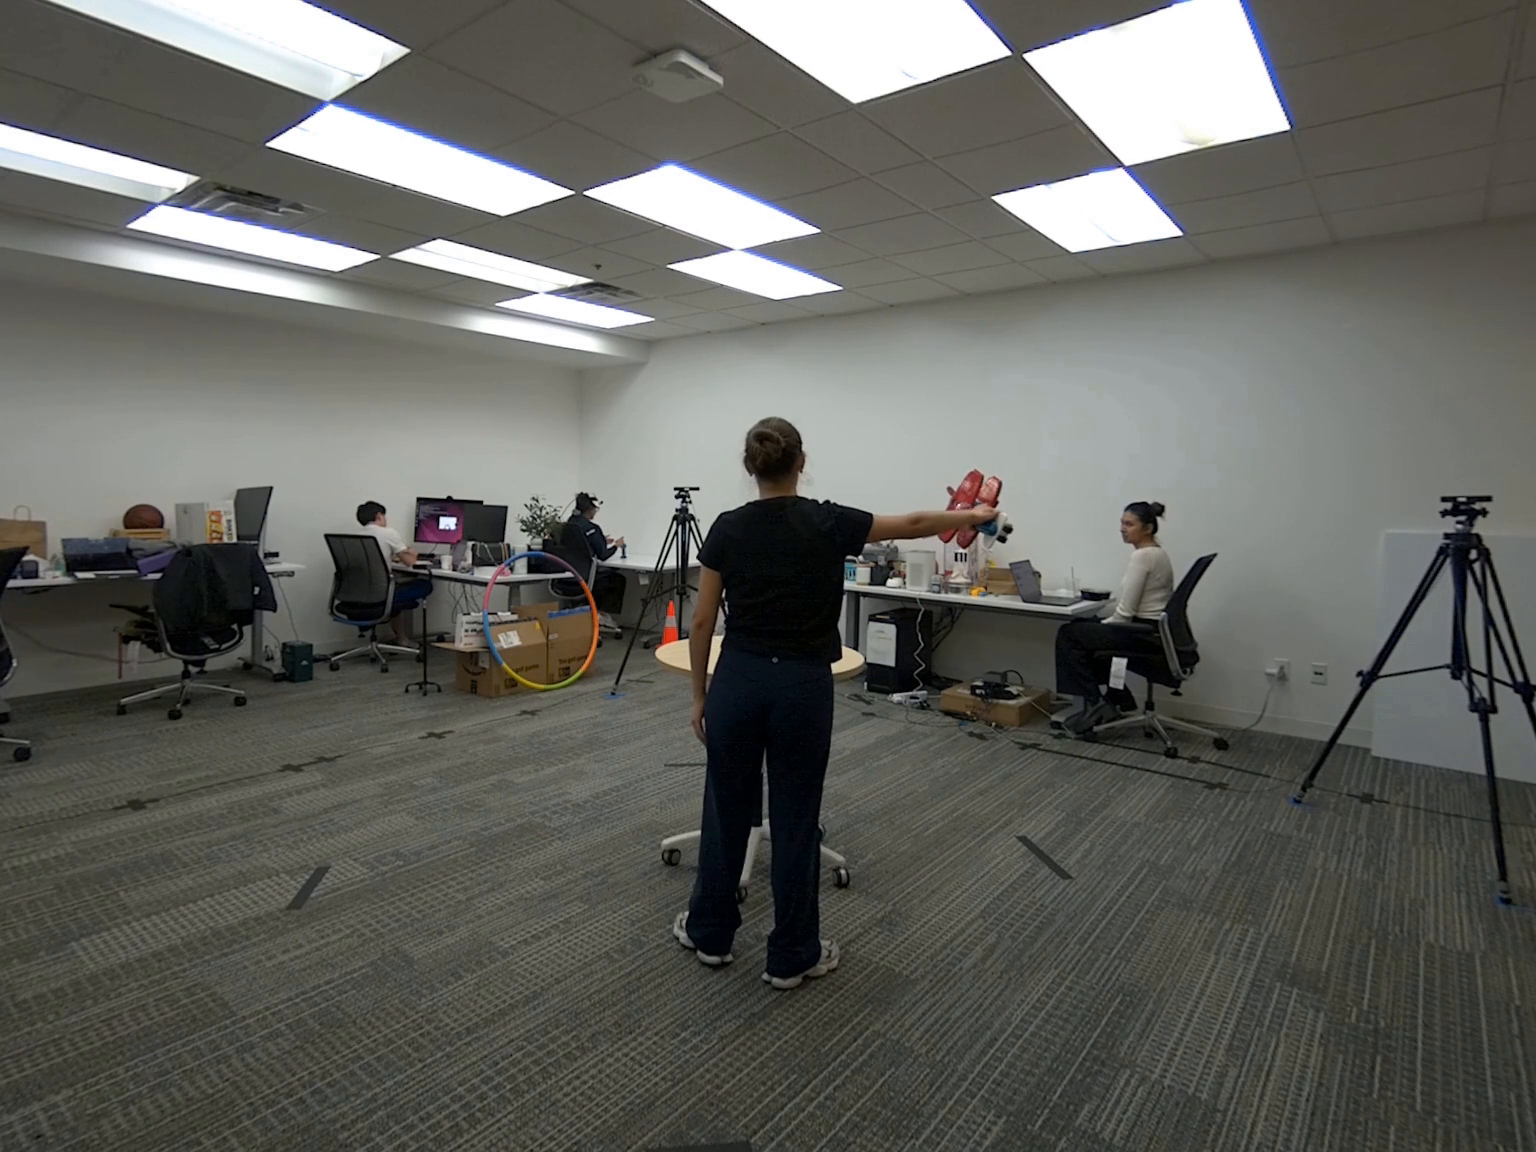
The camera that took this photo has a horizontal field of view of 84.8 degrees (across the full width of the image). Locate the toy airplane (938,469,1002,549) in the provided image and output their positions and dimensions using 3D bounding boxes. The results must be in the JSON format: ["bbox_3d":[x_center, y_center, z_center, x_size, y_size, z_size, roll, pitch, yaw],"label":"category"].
[{"bbox_3d":[0.692,-0.211,2.716,0.154,0.252,0.262,19,-6,-11],"label":"toy airplane"}]
